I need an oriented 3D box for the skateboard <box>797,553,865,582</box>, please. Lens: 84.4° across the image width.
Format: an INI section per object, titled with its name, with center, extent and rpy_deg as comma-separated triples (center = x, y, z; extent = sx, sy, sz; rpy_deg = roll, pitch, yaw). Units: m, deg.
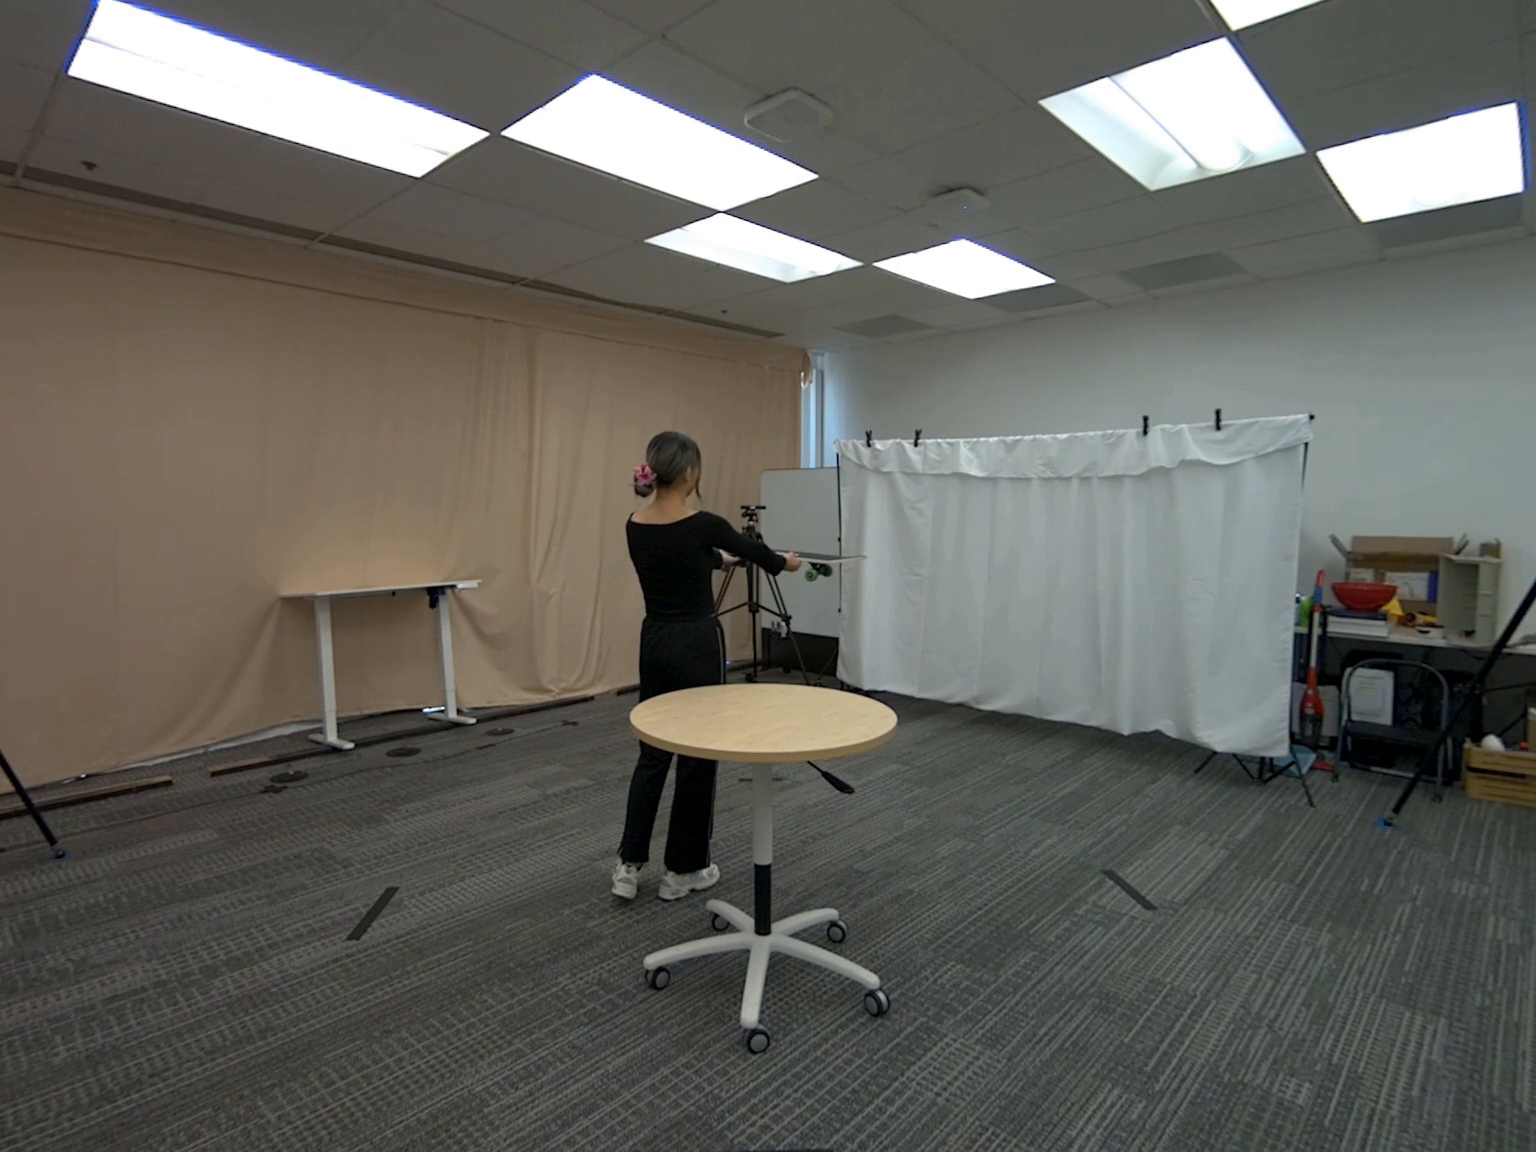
[skateboard]
center = 0.035, -0.058, 3.514
extent = 0.810, 0.110, 0.188
rpy_deg = 7, 9, 33
